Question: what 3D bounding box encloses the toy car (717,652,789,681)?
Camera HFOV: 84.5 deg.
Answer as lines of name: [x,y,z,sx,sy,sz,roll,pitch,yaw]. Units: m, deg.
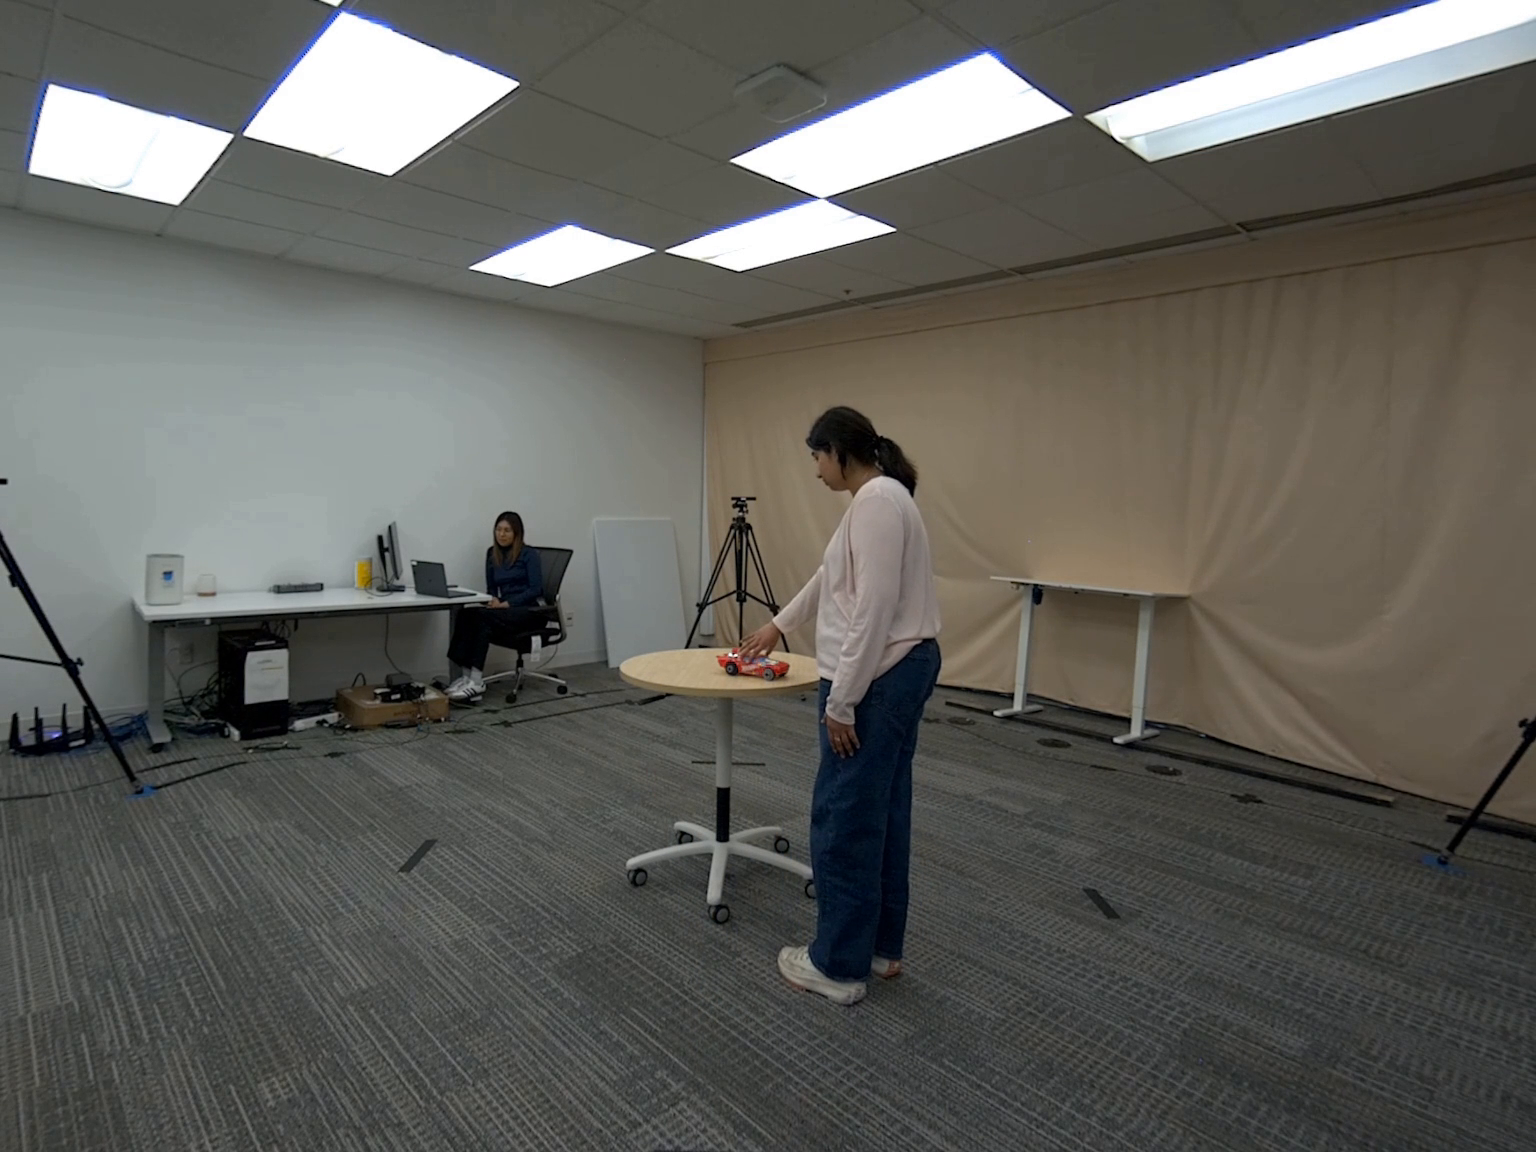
toy car: [-0.070,0.312,2.903,0.261,0.083,0.128,16,11,28]
